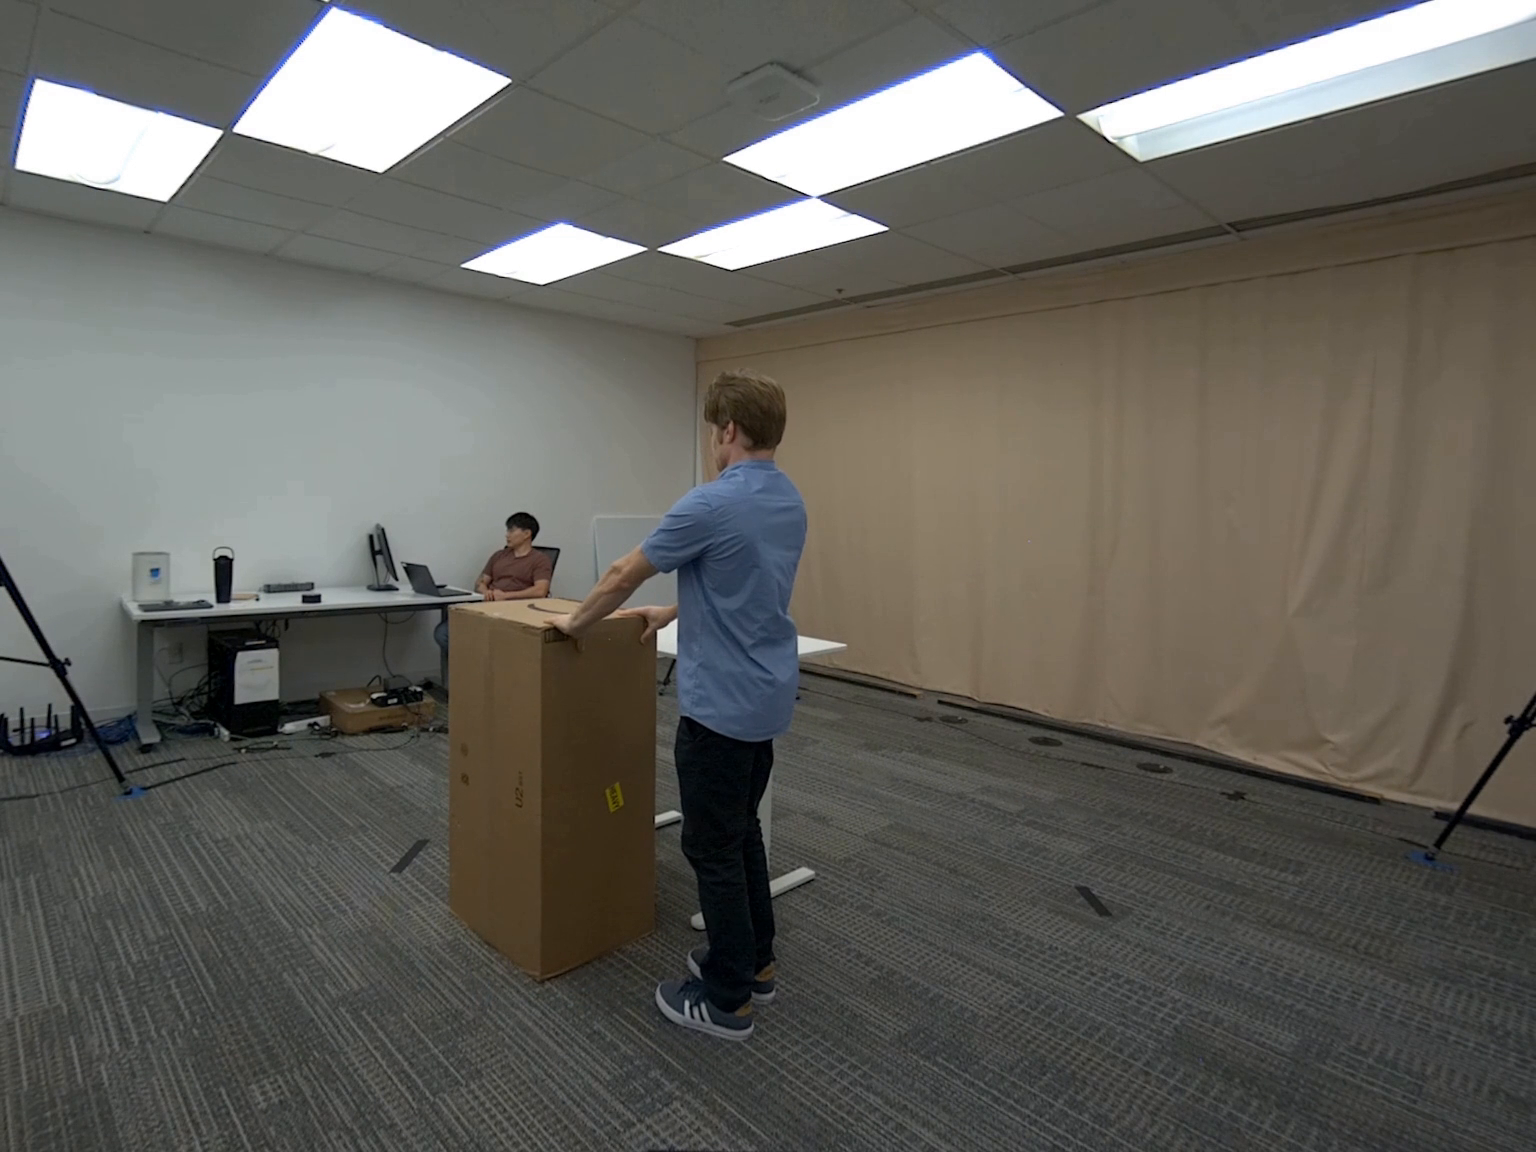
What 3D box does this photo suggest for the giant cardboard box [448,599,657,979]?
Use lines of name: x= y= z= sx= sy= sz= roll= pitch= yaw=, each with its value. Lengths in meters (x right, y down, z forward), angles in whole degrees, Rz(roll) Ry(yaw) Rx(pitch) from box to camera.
giant cardboard box: x=-0.706 y=0.619 z=2.715 sx=0.416 sy=1.023 sz=0.592 roll=-2 pitch=5 yaw=-45
